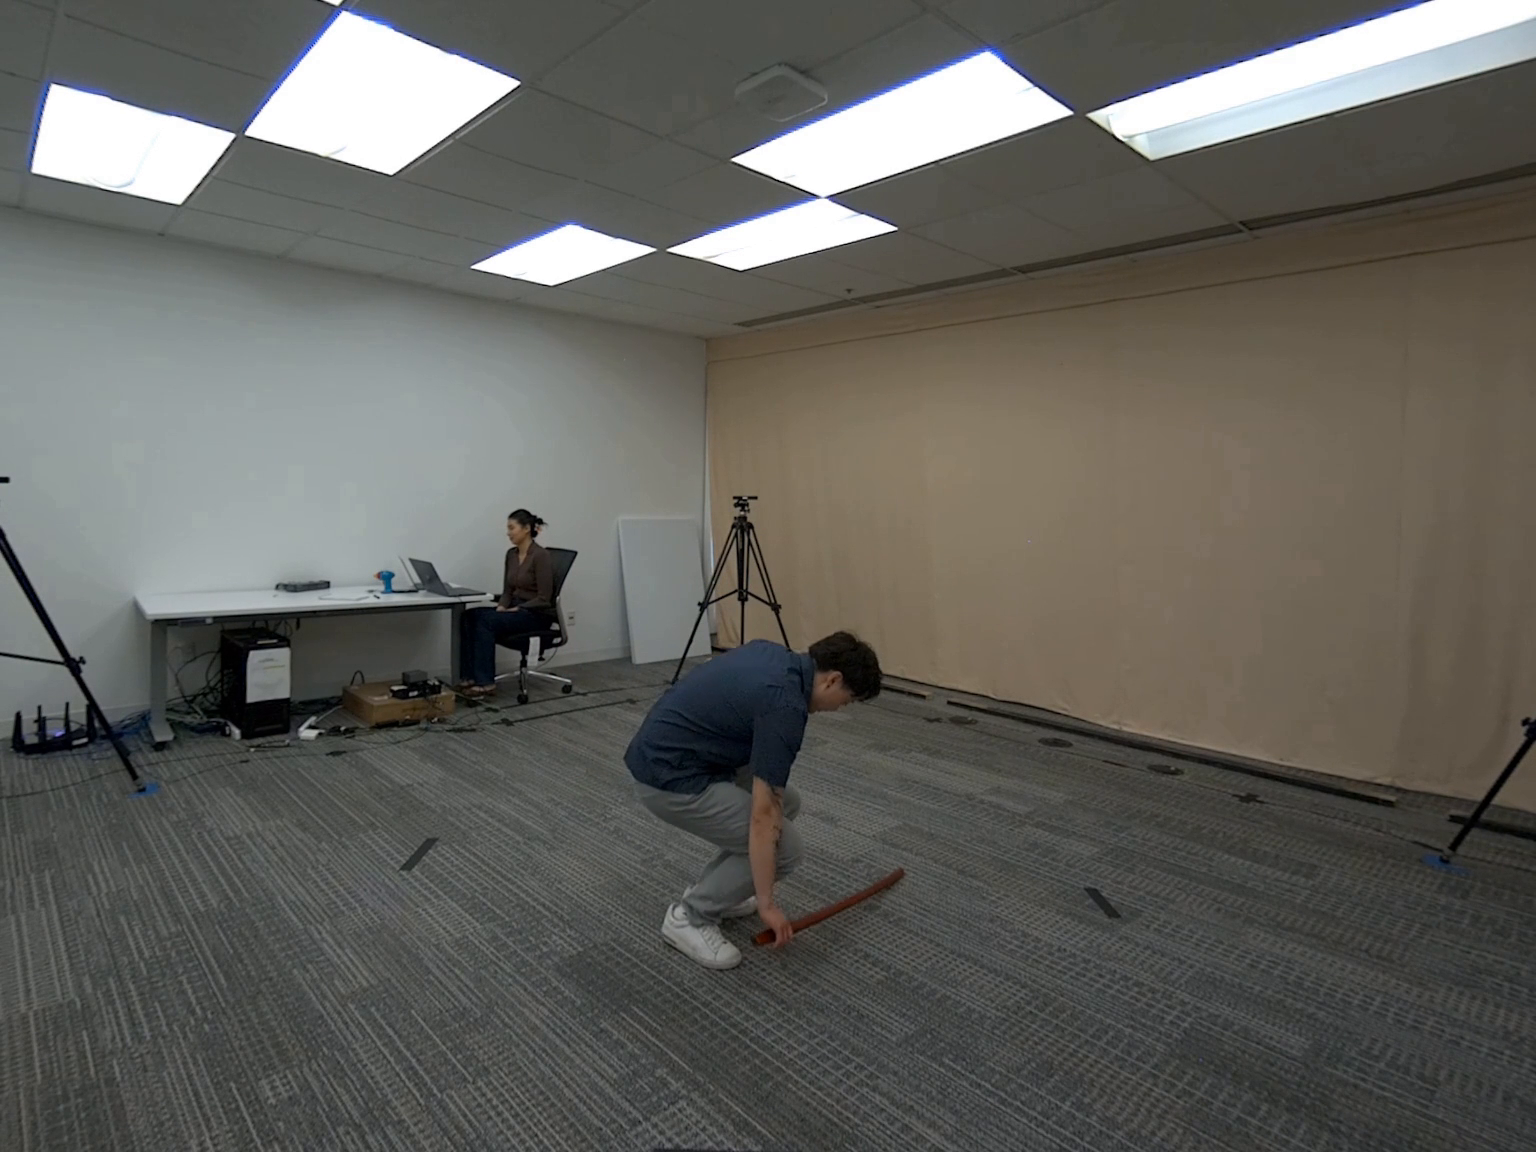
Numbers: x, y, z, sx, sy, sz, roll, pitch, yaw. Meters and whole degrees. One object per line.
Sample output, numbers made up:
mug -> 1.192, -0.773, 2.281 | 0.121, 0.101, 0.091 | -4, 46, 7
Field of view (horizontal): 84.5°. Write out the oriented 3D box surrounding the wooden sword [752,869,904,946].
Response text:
wooden sword -> 0.235, 1.062, 2.737 | 0.052, 0.024, 0.999 | 2, -3, 32
